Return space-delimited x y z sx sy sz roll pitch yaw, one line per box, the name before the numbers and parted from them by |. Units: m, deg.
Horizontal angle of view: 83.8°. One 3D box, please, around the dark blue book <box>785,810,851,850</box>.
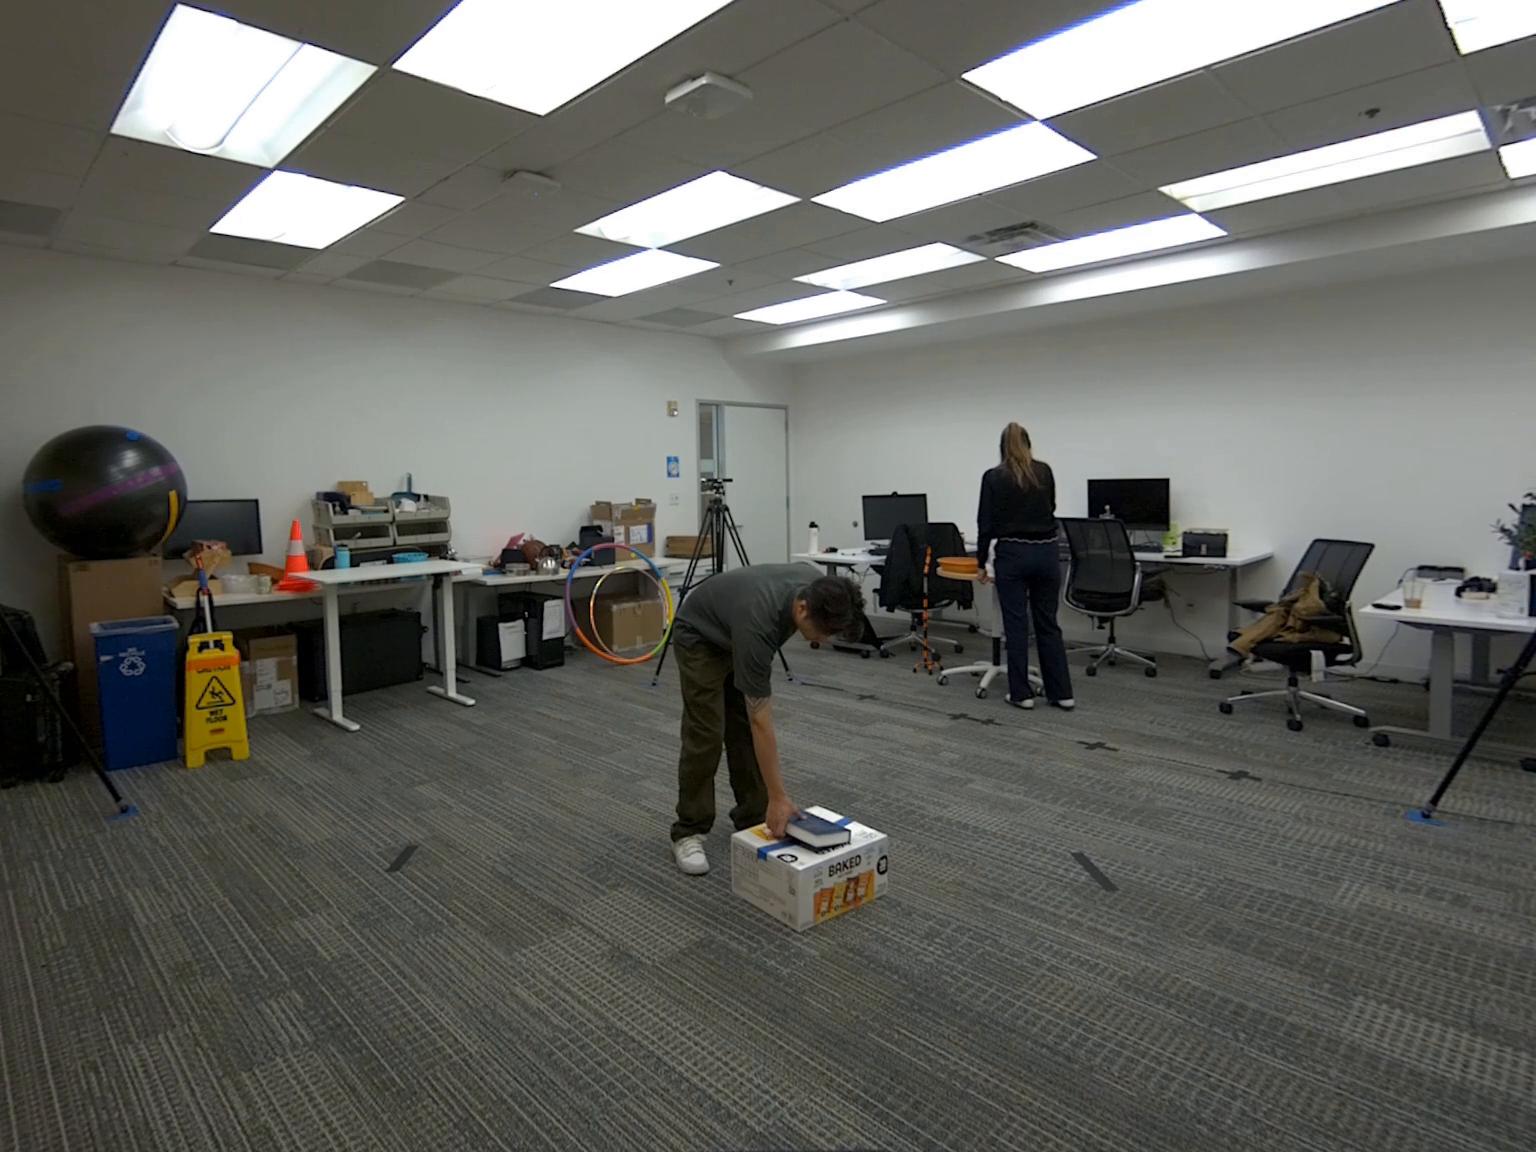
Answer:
dark blue book | 0.150 0.849 2.859 0.158 0.045 0.252 6 -1 -38
